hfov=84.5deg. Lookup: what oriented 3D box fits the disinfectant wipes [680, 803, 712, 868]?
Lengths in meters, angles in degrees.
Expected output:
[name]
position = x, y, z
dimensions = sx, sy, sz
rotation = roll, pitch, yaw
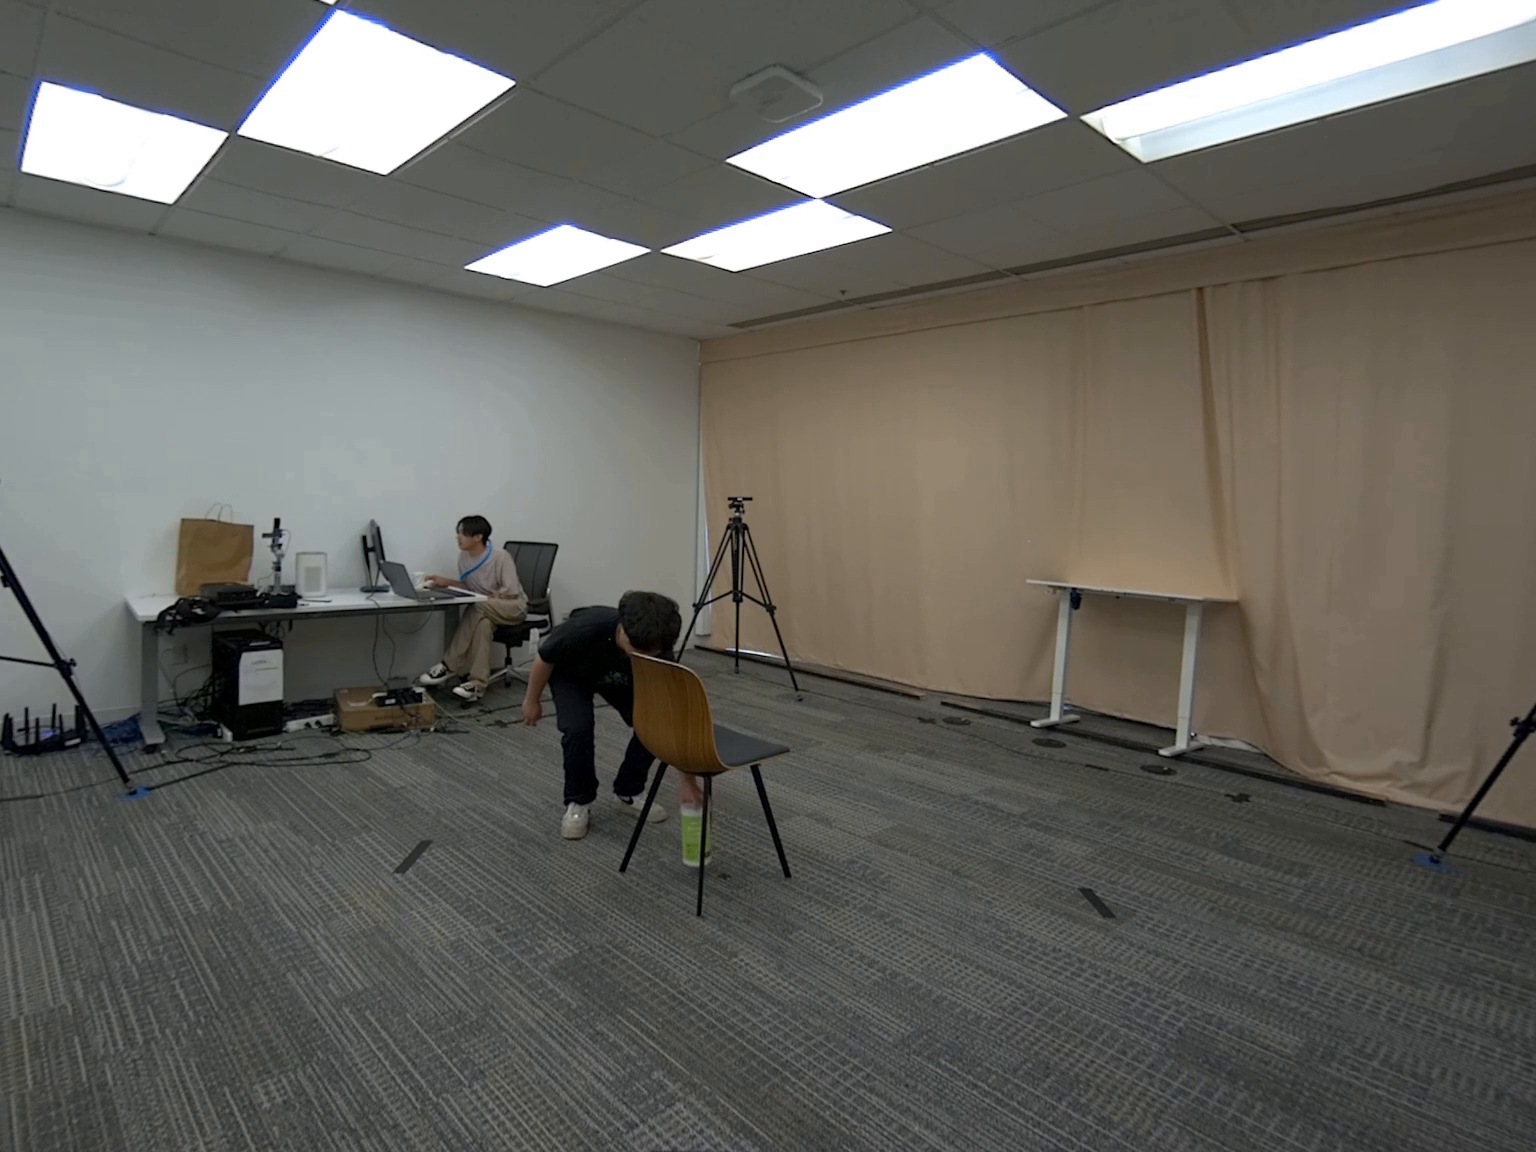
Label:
[disinfectant wipes]
position = -0.290, 0.961, 3.100
dimensions = 0.118, 0.216, 0.118
rotation = -1, 7, -1
